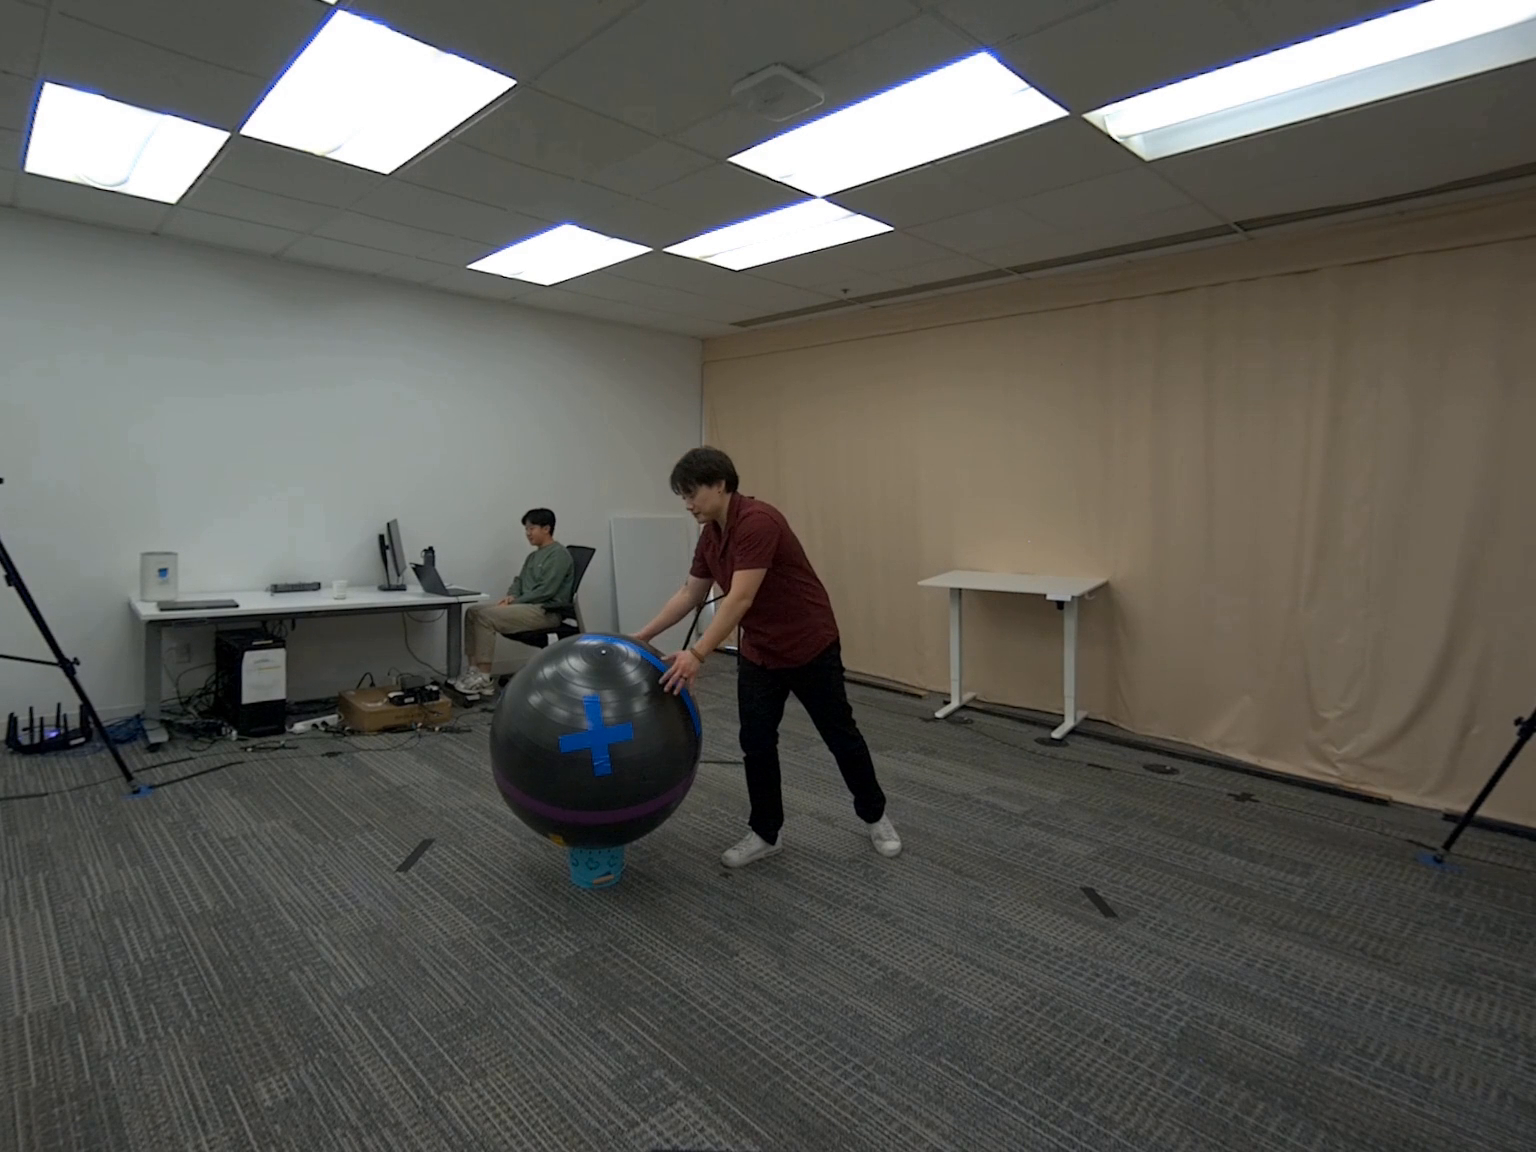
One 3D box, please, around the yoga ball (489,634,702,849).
[{"bbox_3d":[-0.624,0.593,3.032,0.757,0.756,0.761,1,4,-1],"label":"yoga ball"}]
